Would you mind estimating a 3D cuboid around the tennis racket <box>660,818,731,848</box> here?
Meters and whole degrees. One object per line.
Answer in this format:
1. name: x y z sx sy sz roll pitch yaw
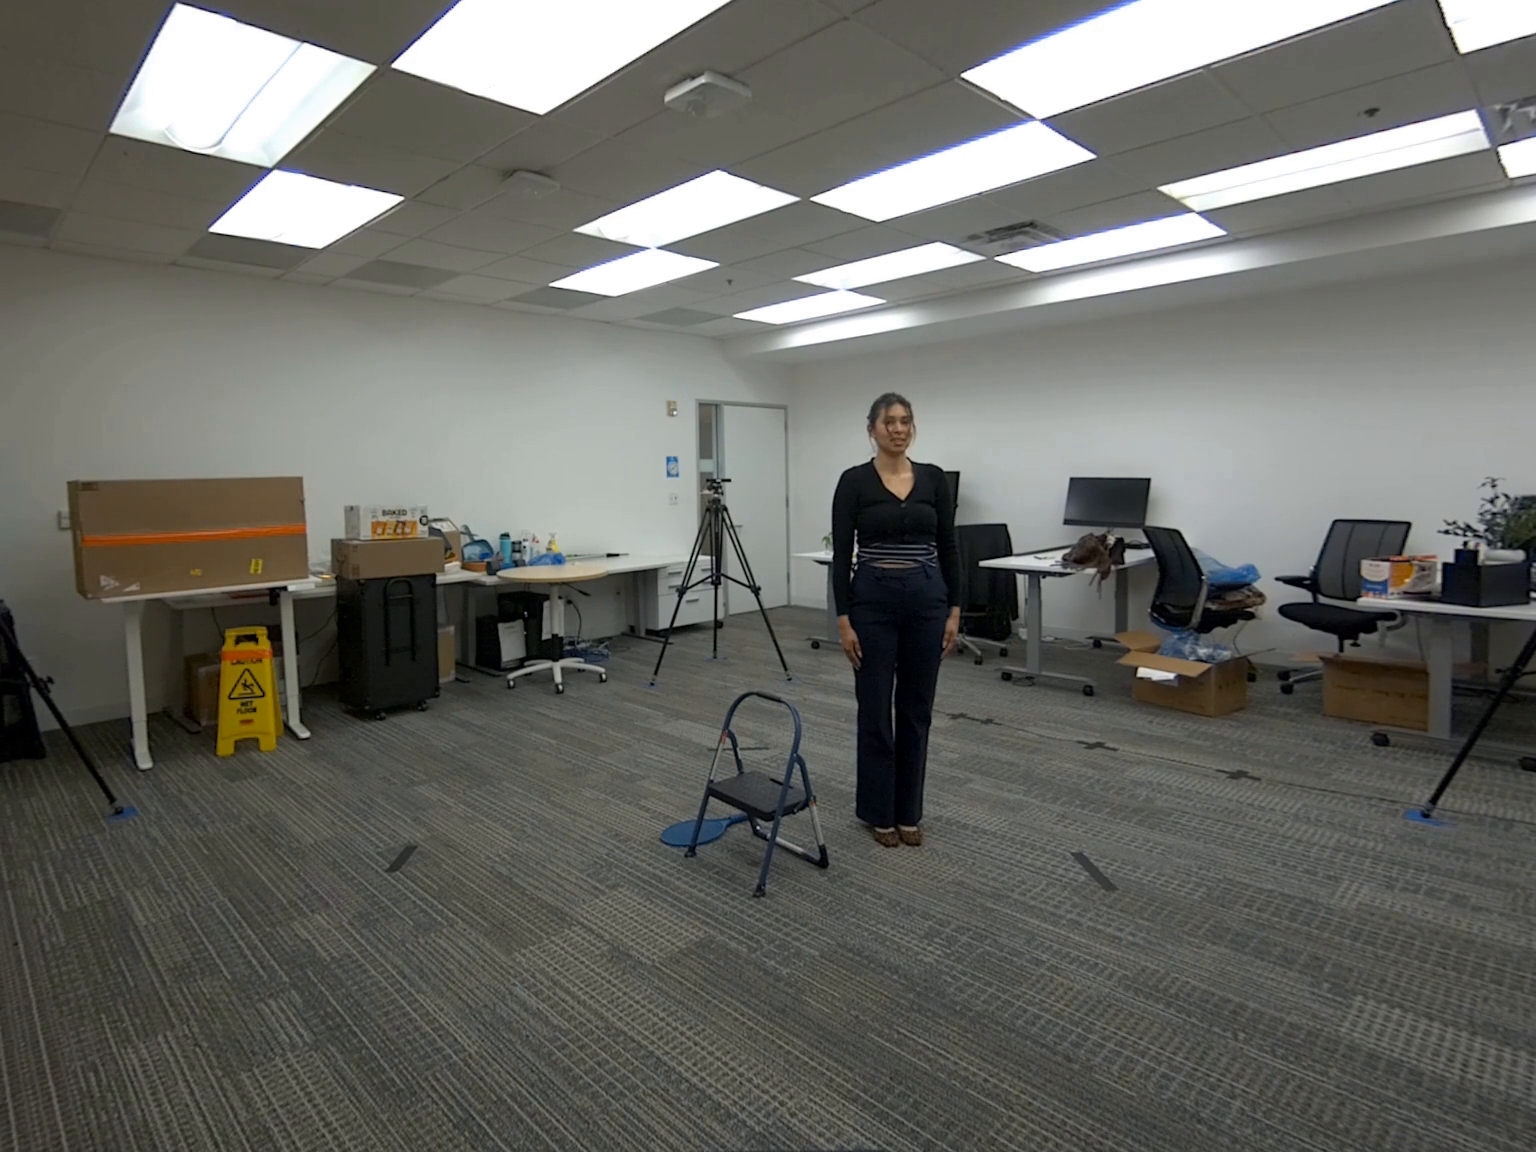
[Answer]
1. tennis racket: -0.229 0.998 3.406 0.422 0.031 0.220 -7 8 -38
